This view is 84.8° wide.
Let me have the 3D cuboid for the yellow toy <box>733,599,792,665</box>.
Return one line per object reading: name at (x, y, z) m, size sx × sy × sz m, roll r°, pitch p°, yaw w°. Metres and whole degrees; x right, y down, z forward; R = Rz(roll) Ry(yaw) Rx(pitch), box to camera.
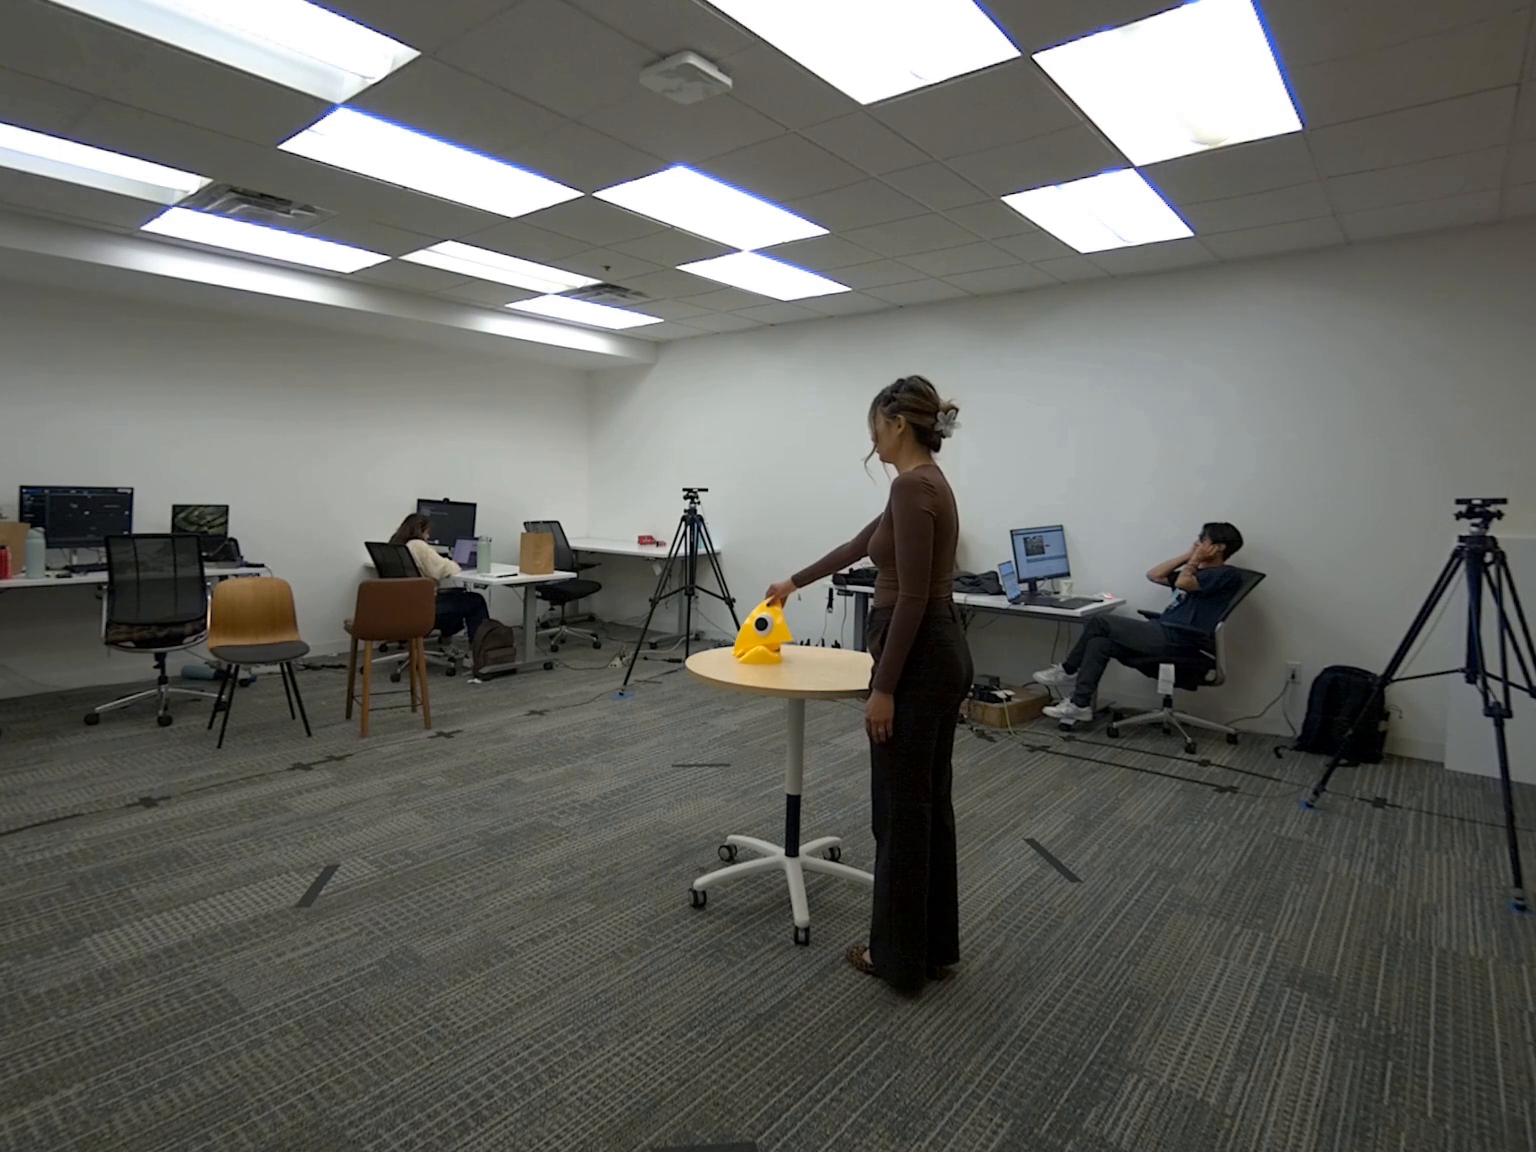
yellow toy at (-0.034, 0.172, 2.984) m, size 0.191 × 0.230 × 0.208 m, roll 2°, pitch 3°, yaw -12°
